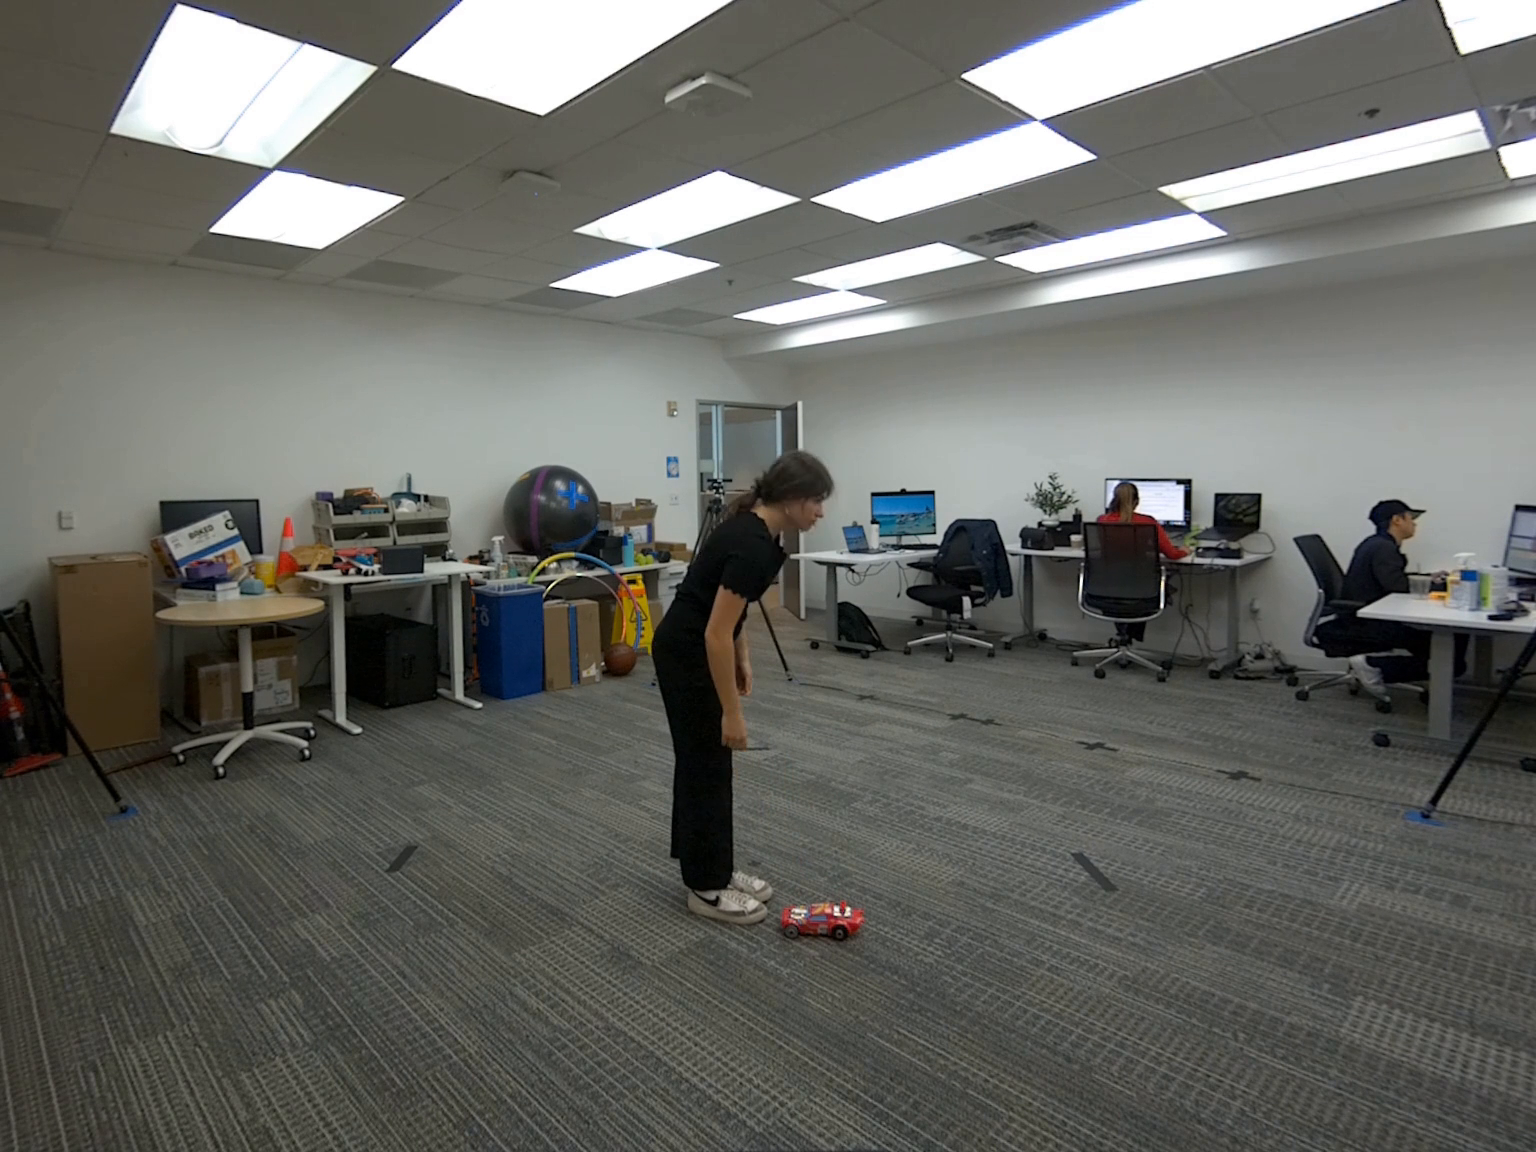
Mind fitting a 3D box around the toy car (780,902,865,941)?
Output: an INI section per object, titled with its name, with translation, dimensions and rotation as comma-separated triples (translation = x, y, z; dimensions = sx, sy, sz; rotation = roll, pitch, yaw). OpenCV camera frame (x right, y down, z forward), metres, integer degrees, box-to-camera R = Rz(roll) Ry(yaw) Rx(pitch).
[toy car]
translation = 0.175, 1.060, 2.634
dimensions = 0.256, 0.083, 0.129
rotation = -13, 3, 10
